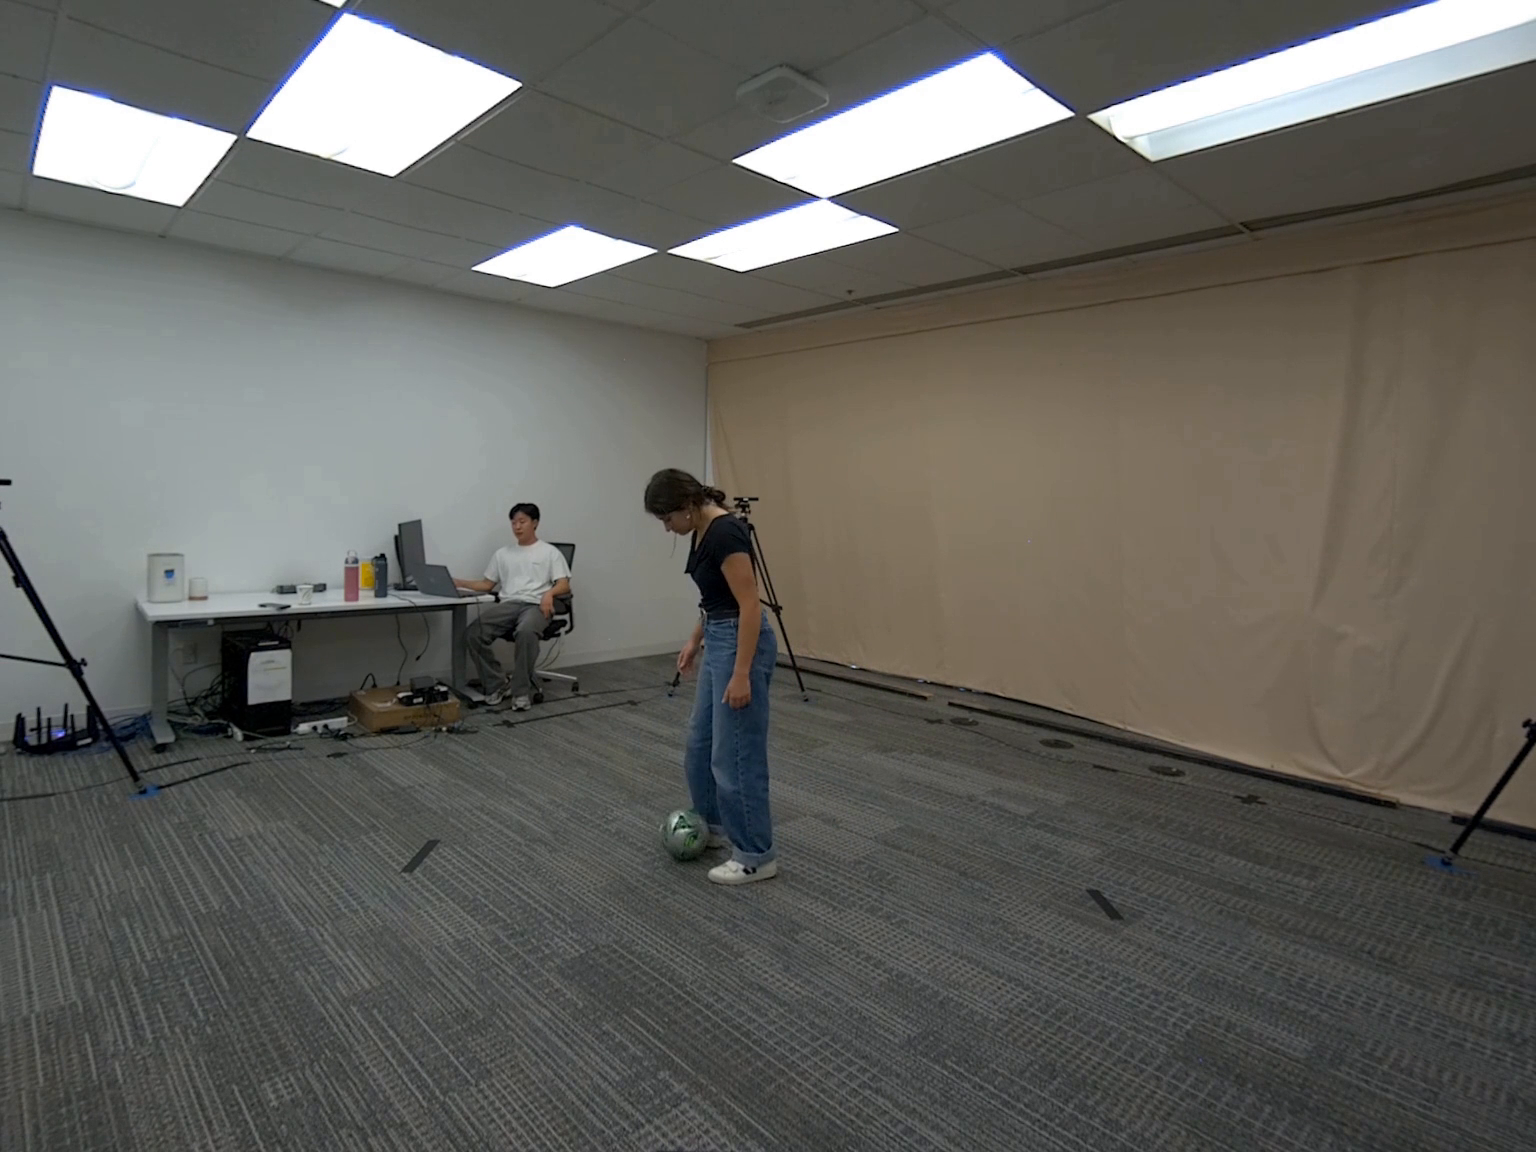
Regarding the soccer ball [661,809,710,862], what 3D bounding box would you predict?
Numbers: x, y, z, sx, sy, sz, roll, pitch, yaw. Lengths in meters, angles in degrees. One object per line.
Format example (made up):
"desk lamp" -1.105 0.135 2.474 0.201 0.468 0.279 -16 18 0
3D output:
"soccer ball" -0.333 0.998 3.227 0.187 0.187 0.188 1 4 -1
